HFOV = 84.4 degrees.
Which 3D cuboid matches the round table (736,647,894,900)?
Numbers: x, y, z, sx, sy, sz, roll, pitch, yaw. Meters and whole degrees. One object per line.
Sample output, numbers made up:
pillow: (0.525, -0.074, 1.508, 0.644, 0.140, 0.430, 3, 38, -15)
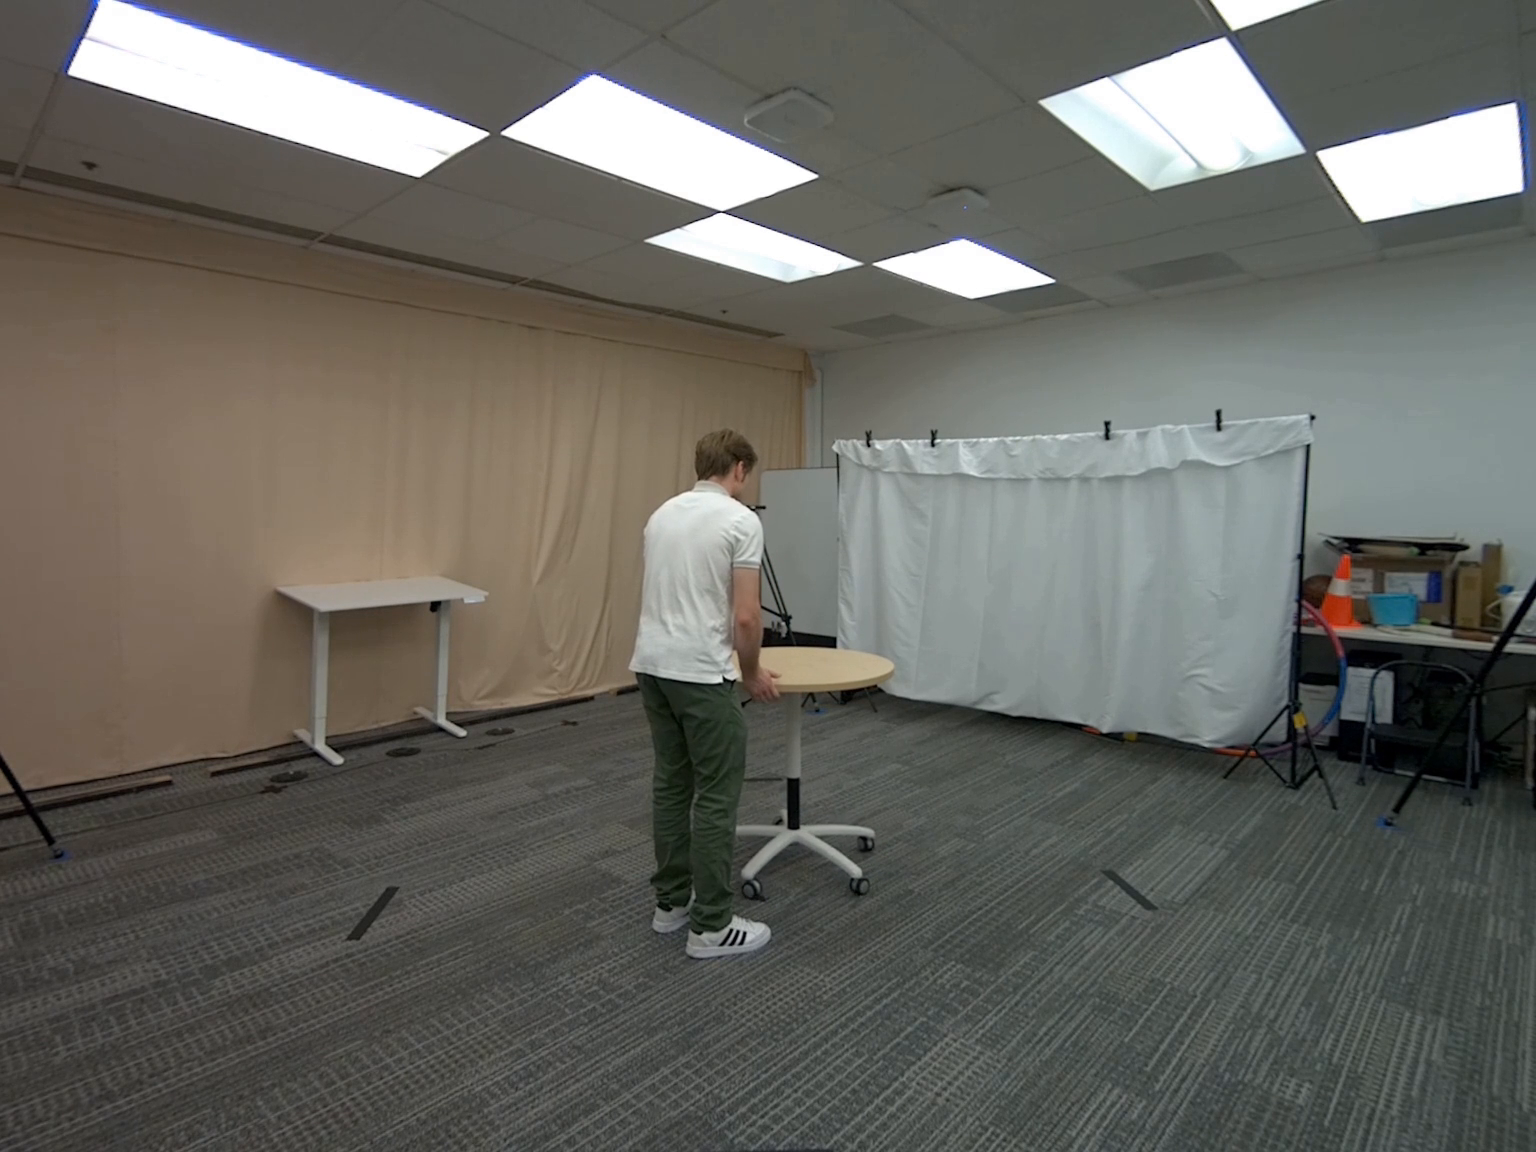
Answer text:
round table: (0.107, 0.730, 3.259, 0.763, 0.792, 0.767, 0, 4, -2)
